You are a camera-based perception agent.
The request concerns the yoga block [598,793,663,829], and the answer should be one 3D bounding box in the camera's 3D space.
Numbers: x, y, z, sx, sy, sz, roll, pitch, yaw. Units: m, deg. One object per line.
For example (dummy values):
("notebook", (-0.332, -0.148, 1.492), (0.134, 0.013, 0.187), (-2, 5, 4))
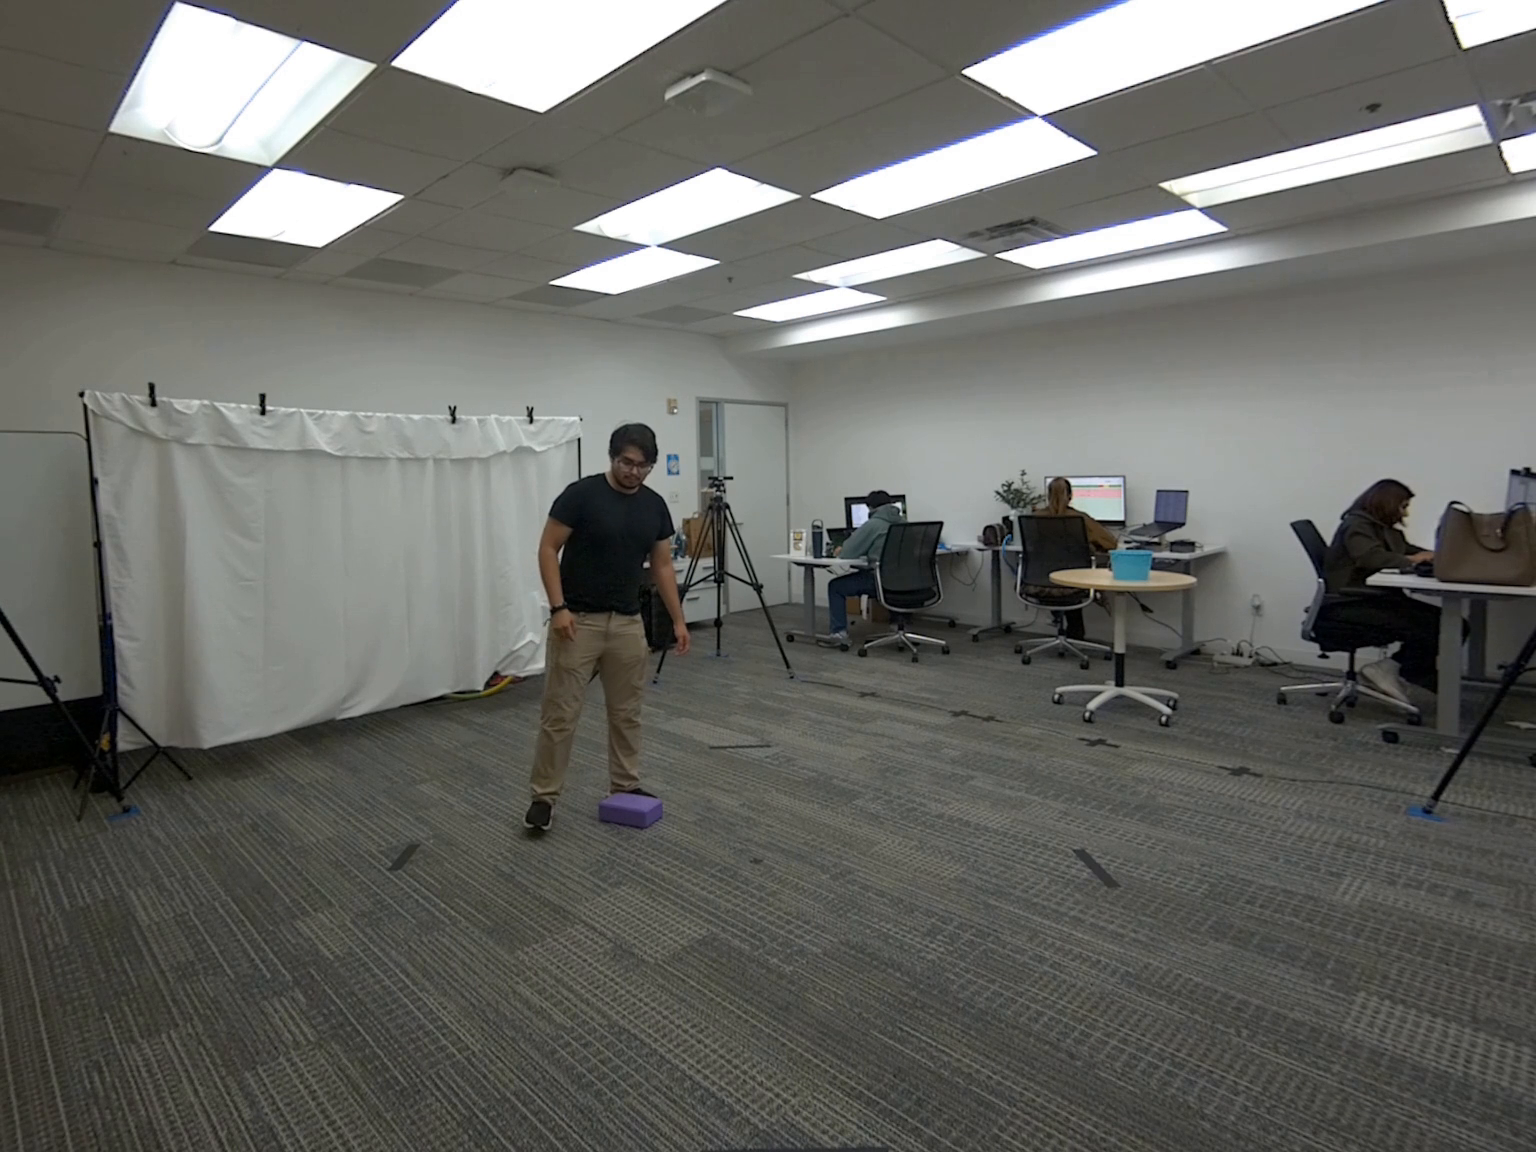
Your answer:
("yoga block", (-0.566, 0.960, 3.514), (0.235, 0.076, 0.146), (3, 5, 25))
